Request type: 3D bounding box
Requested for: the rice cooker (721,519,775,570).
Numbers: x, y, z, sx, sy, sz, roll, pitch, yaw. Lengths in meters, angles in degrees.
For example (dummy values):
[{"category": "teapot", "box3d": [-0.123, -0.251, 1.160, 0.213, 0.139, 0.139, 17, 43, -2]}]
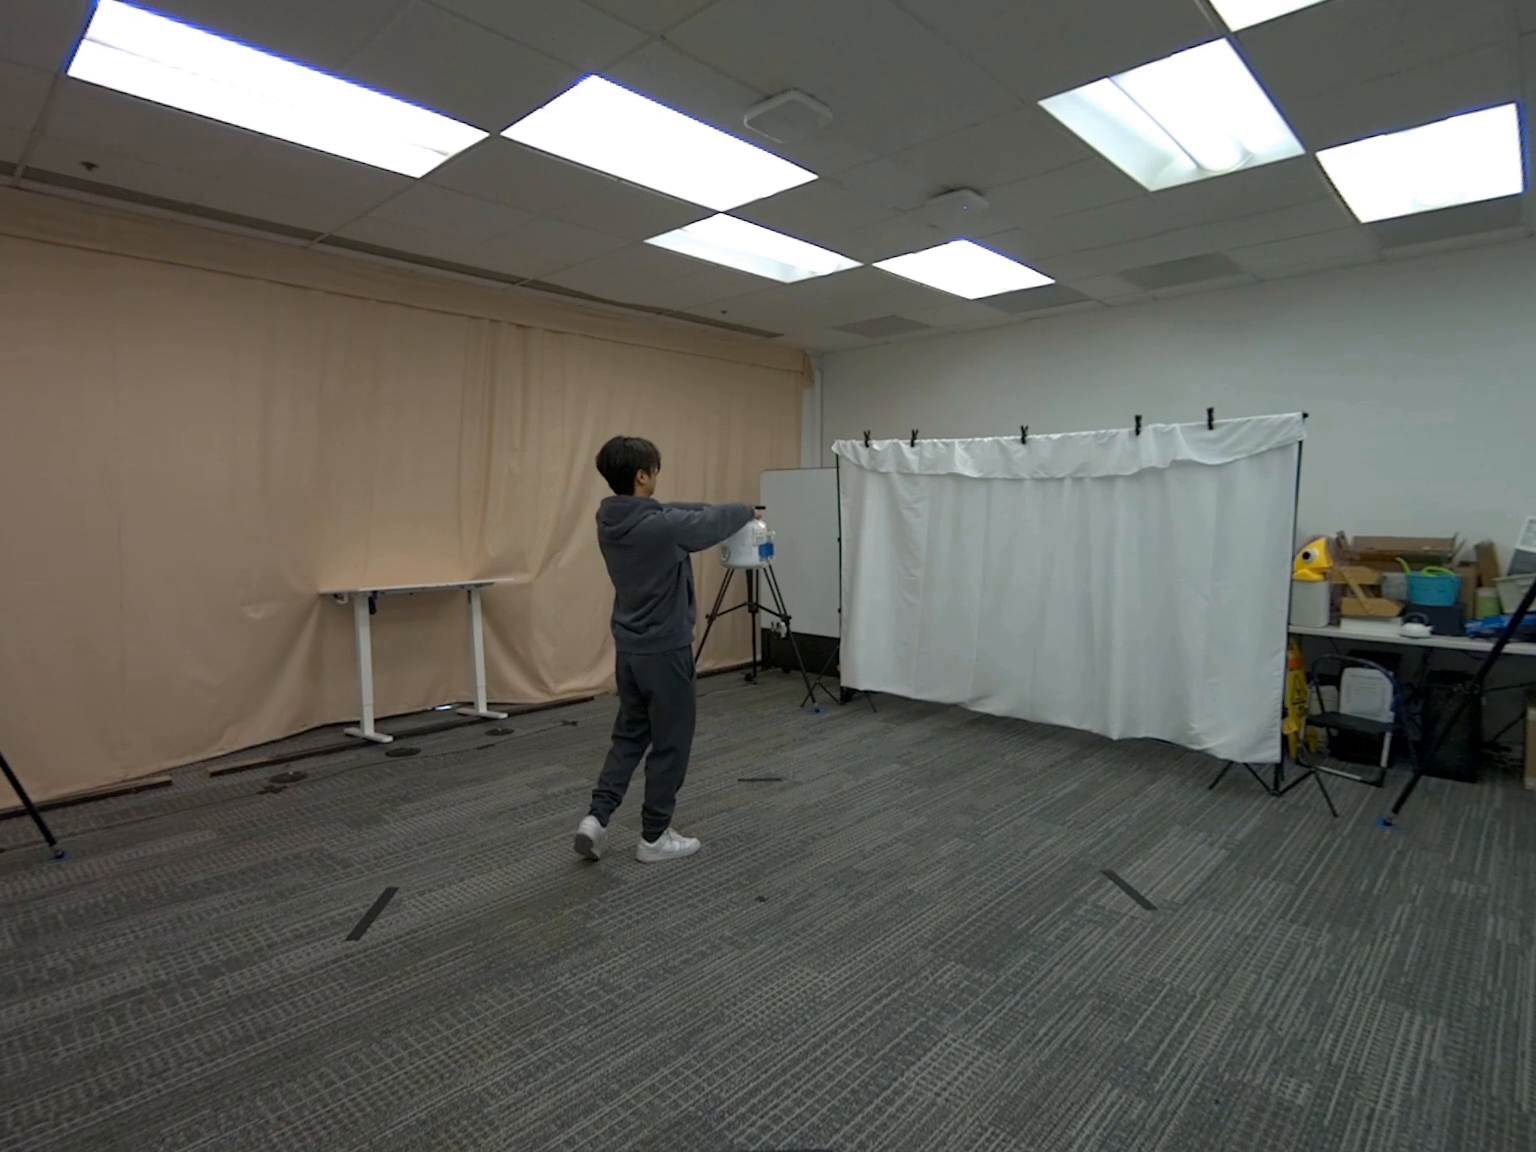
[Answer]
[{"category": "rice cooker", "box3d": [-0.107, -0.152, 3.648, 0.211, 0.232, 0.228, -6, 8, -41]}]
